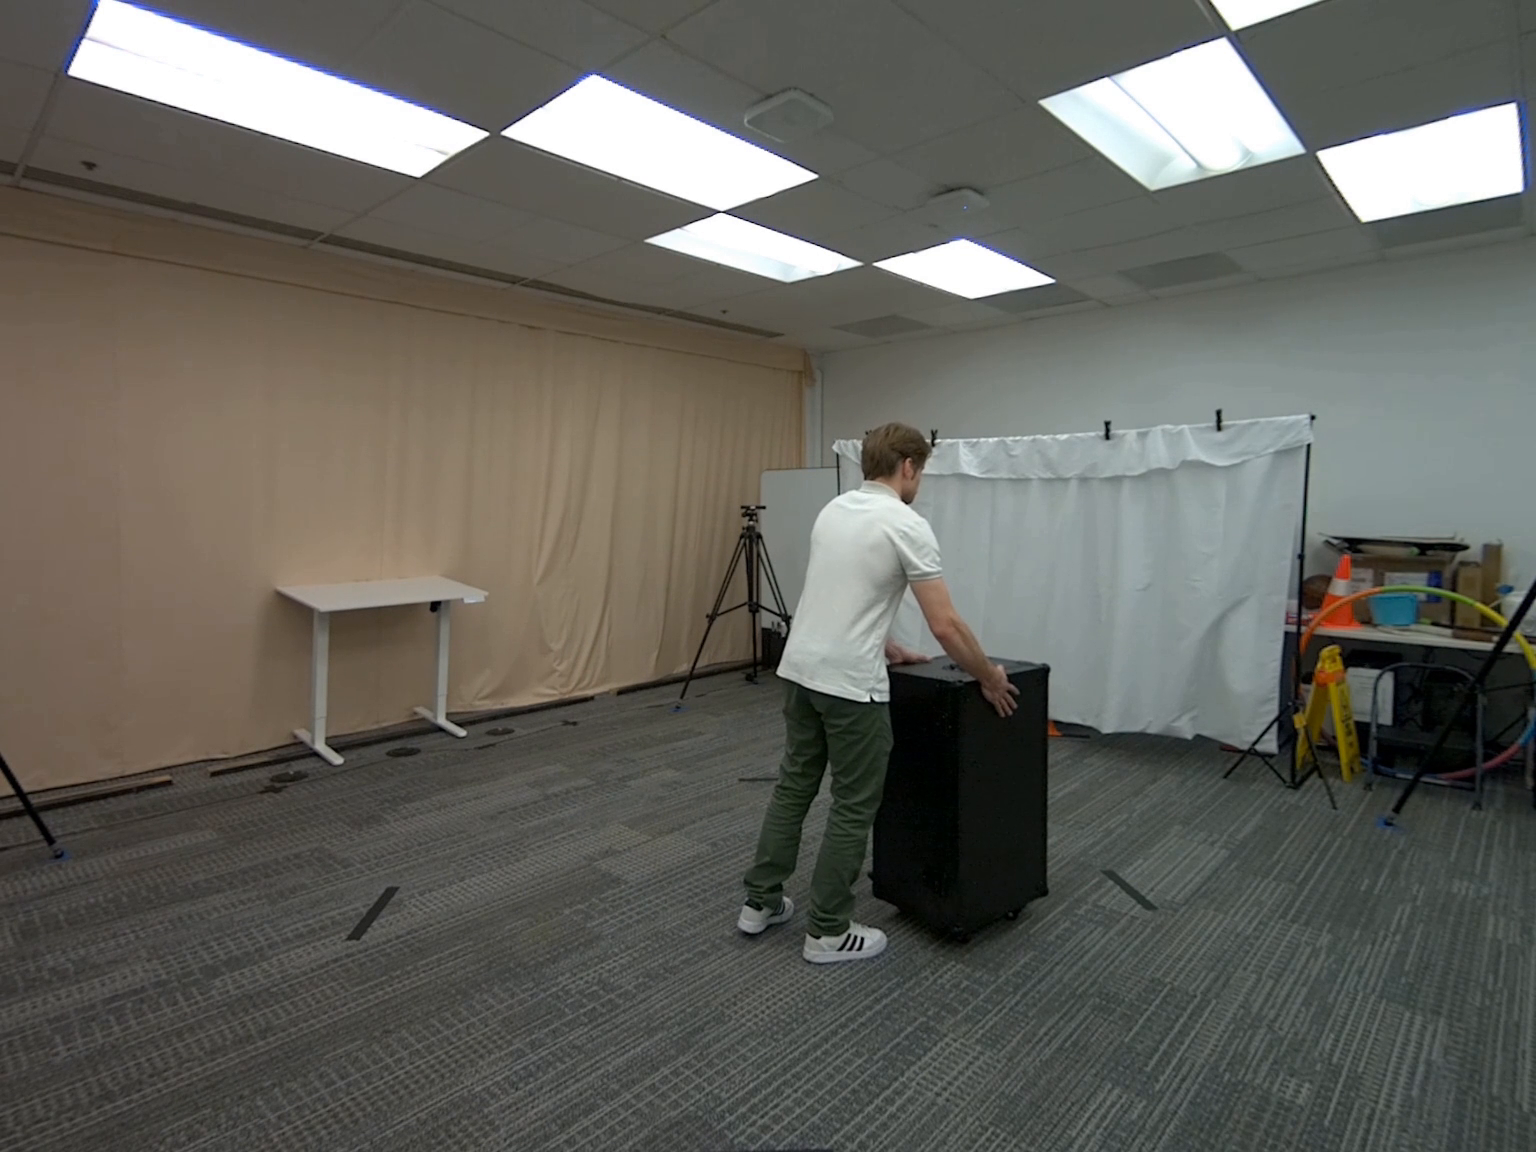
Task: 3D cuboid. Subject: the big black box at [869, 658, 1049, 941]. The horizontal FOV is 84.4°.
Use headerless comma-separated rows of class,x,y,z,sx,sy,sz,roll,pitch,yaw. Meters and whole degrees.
big black box,0.649,0.736,2.836,0.507,0.867,0.397,-2,3,-38
